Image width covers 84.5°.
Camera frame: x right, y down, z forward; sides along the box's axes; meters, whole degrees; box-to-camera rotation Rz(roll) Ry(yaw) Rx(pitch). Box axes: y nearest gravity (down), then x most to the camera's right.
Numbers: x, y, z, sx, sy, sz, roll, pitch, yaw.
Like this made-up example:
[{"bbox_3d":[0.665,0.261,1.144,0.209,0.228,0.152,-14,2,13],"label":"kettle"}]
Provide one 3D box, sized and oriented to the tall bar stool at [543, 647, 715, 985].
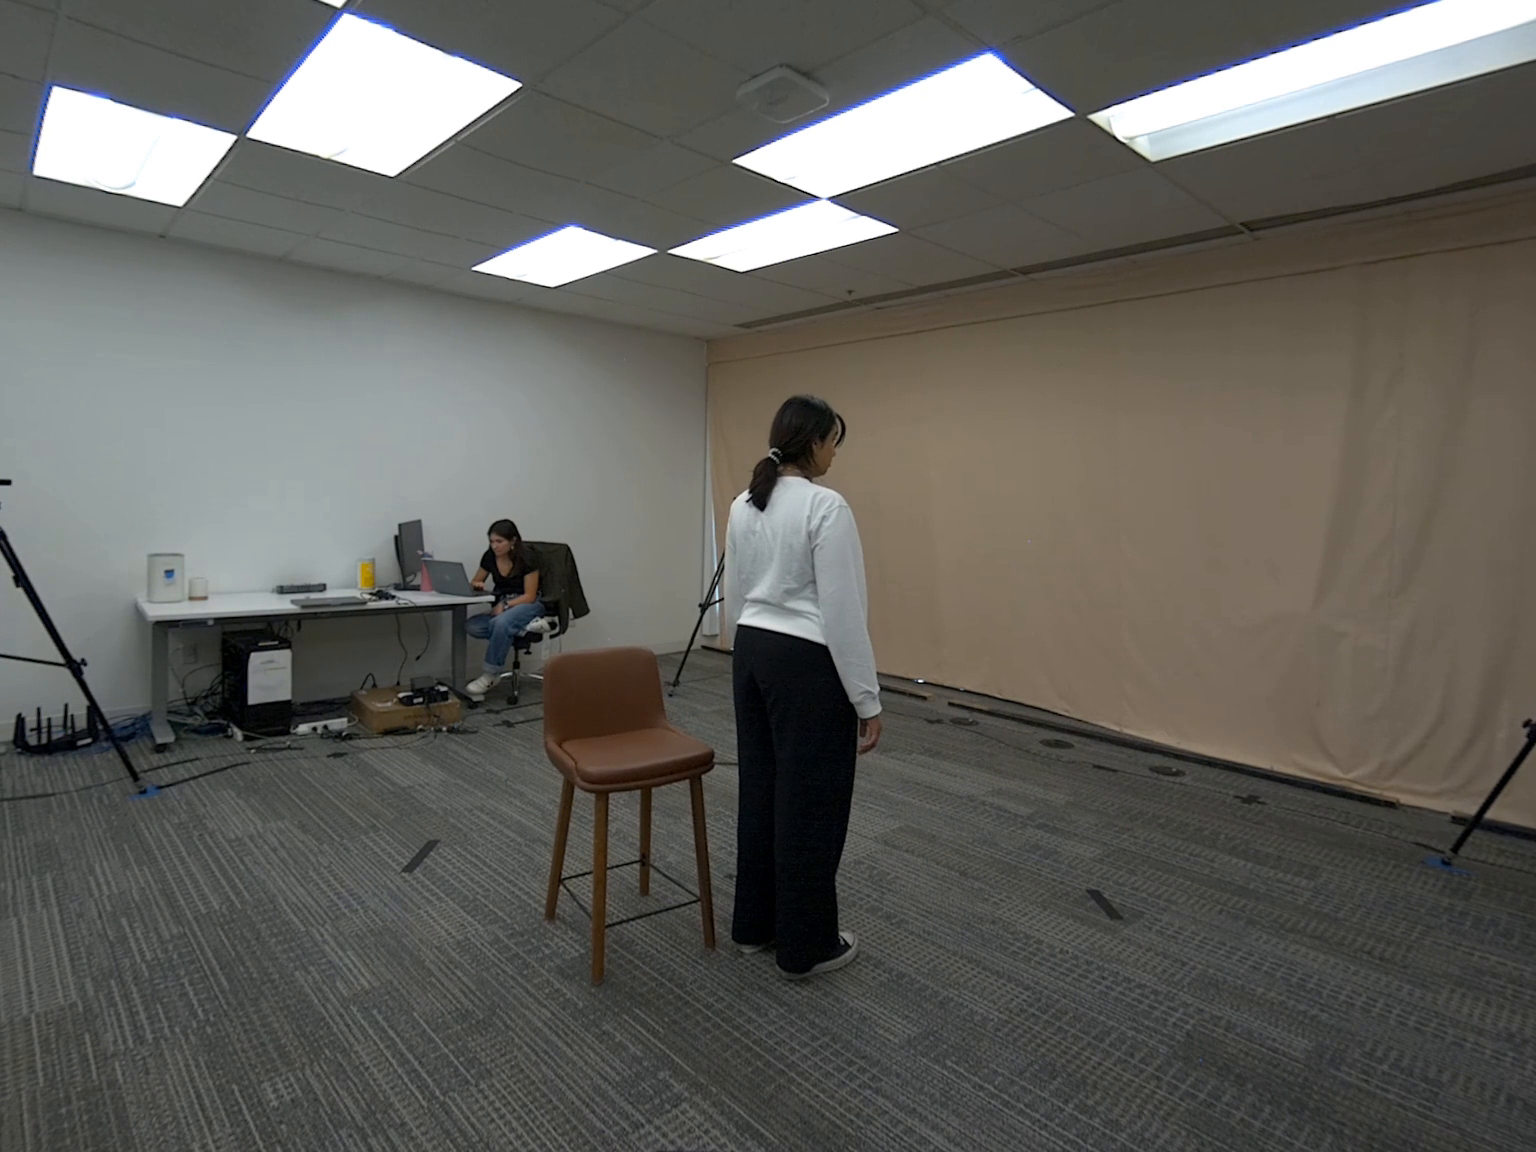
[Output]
[{"bbox_3d":[-0.455,0.707,2.669,0.447,0.889,0.478,-1,2,-34],"label":"tall bar stool"}]
